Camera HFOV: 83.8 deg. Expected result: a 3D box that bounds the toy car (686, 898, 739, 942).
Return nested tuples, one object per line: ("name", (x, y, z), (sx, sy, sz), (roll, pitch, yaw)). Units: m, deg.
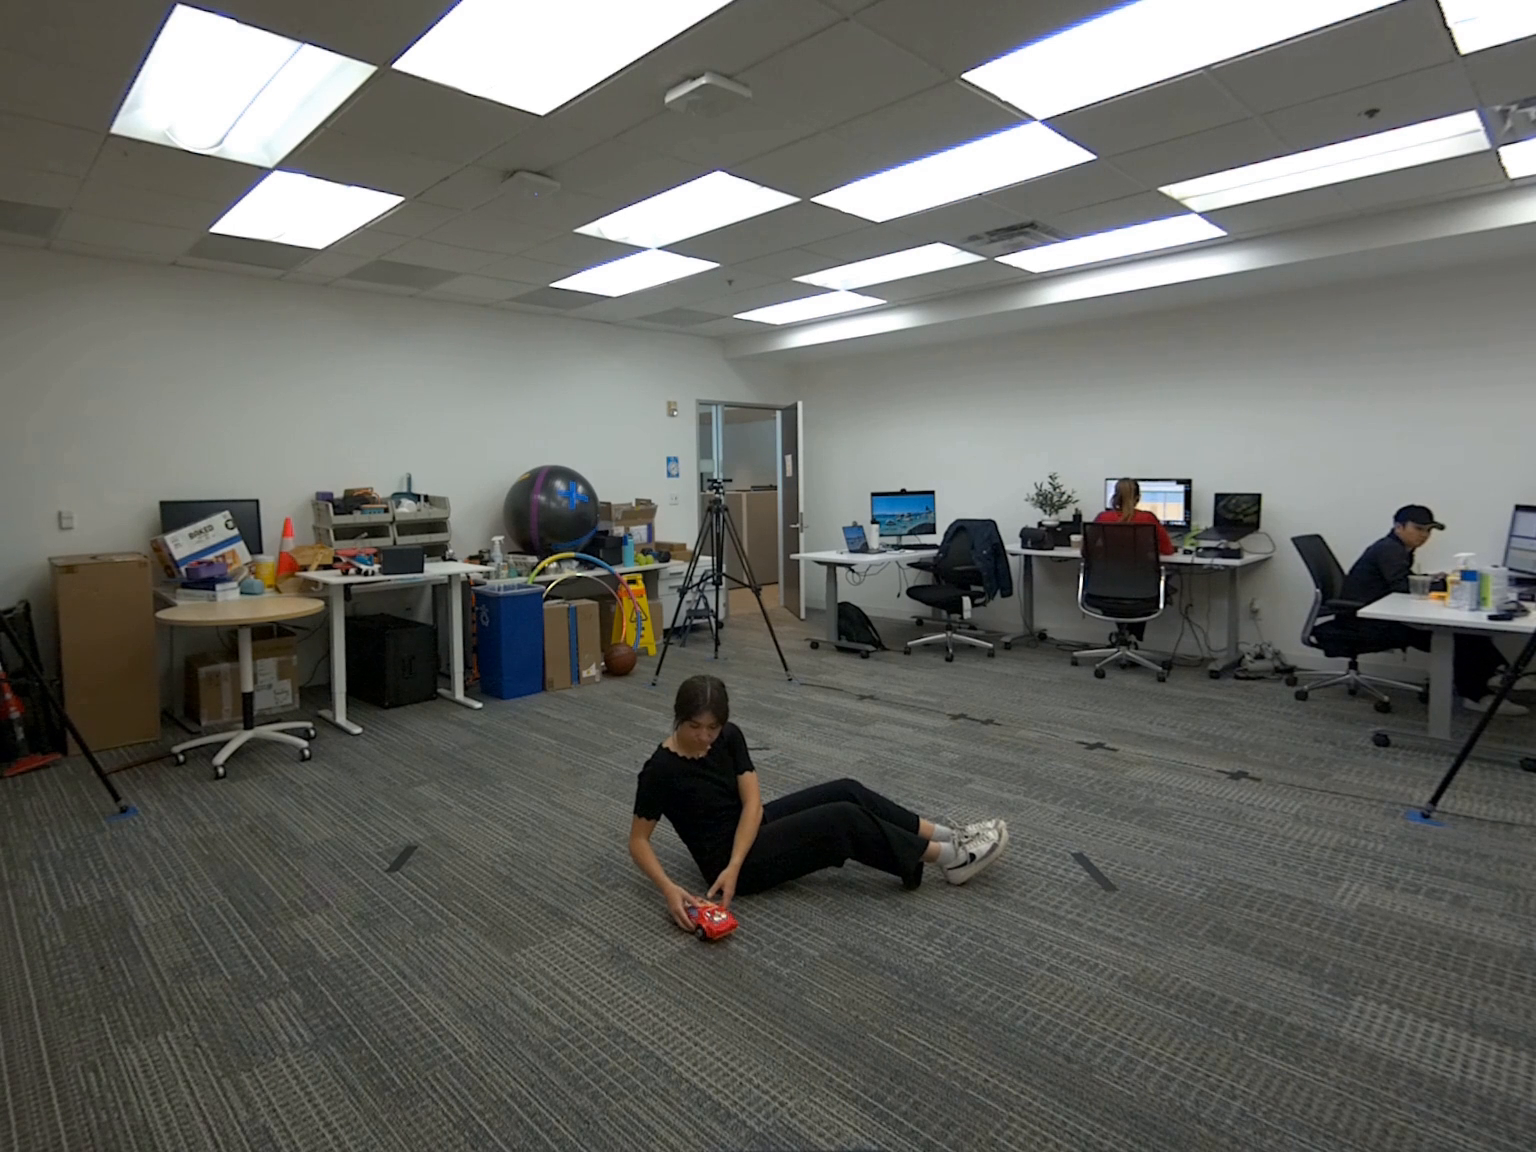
("toy car", (-0.197, 1.070, 2.660), (0.127, 0.083, 0.260), (-5, -4, -37))
